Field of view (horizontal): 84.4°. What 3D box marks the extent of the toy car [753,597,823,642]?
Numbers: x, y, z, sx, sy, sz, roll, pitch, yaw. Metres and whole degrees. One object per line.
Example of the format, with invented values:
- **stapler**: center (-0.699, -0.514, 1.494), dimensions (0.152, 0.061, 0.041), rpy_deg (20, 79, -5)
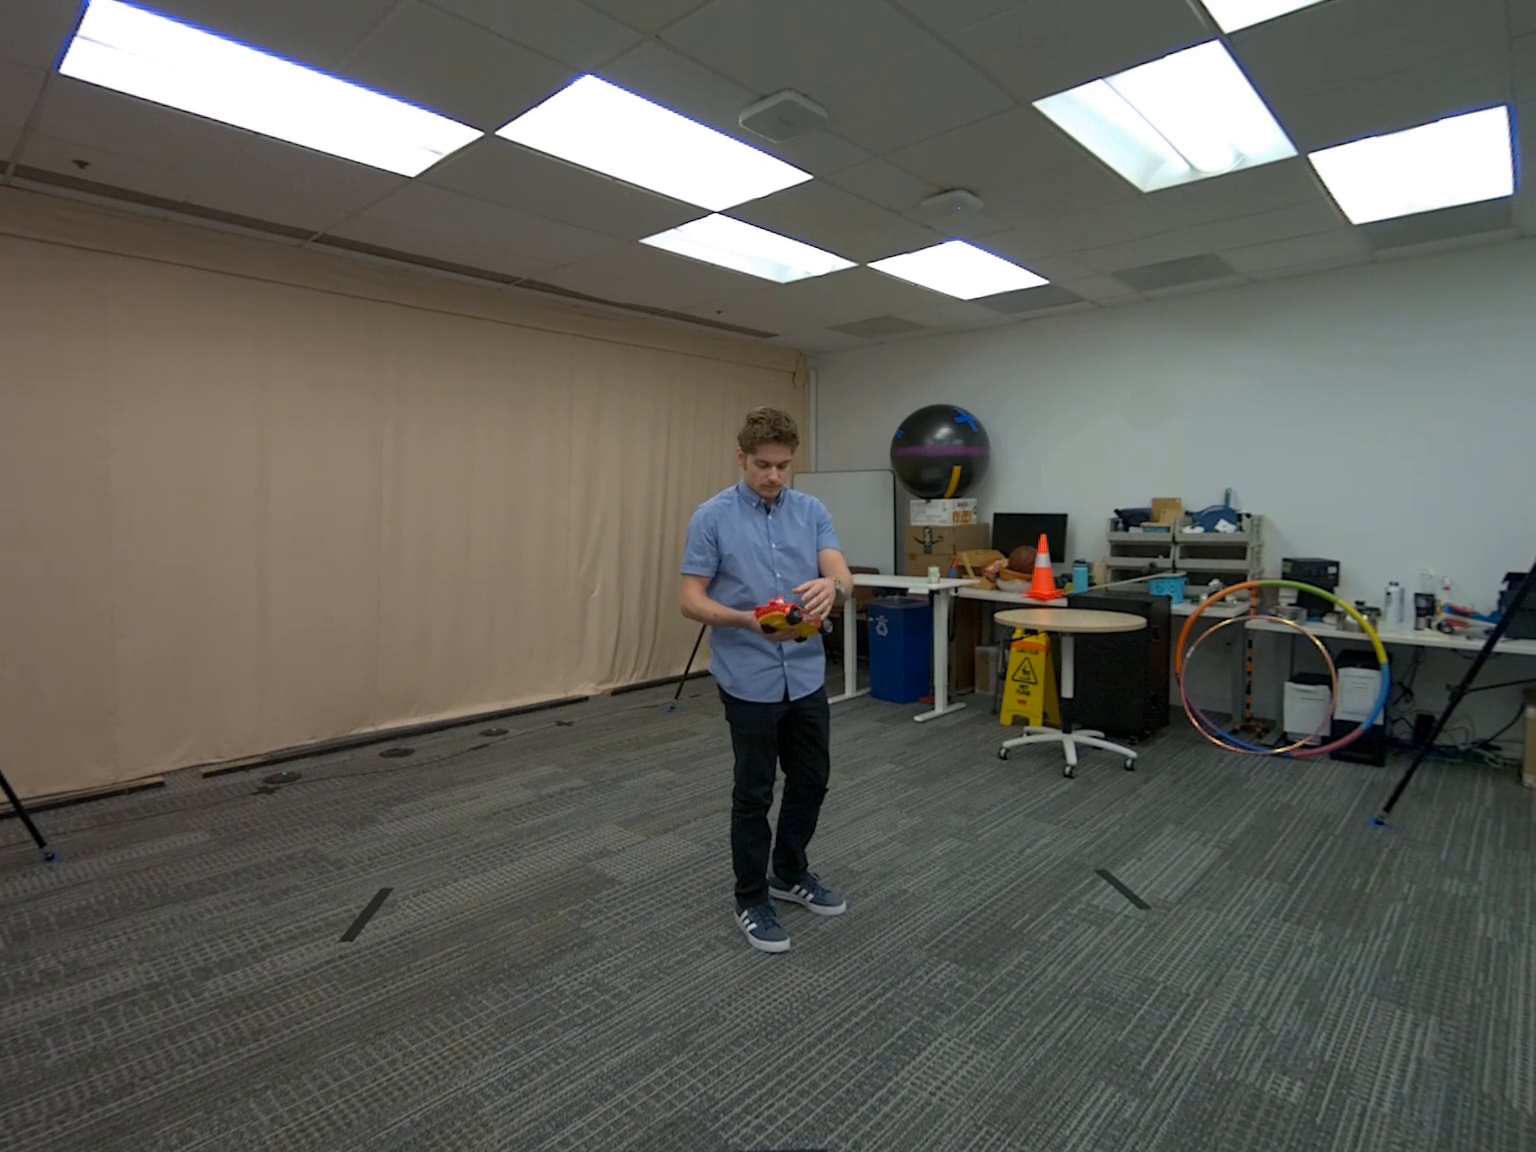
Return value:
- **toy car**: center (0.067, 0.130, 2.370), dimensions (0.133, 0.084, 0.245), rpy_deg (-21, -39, 34)
